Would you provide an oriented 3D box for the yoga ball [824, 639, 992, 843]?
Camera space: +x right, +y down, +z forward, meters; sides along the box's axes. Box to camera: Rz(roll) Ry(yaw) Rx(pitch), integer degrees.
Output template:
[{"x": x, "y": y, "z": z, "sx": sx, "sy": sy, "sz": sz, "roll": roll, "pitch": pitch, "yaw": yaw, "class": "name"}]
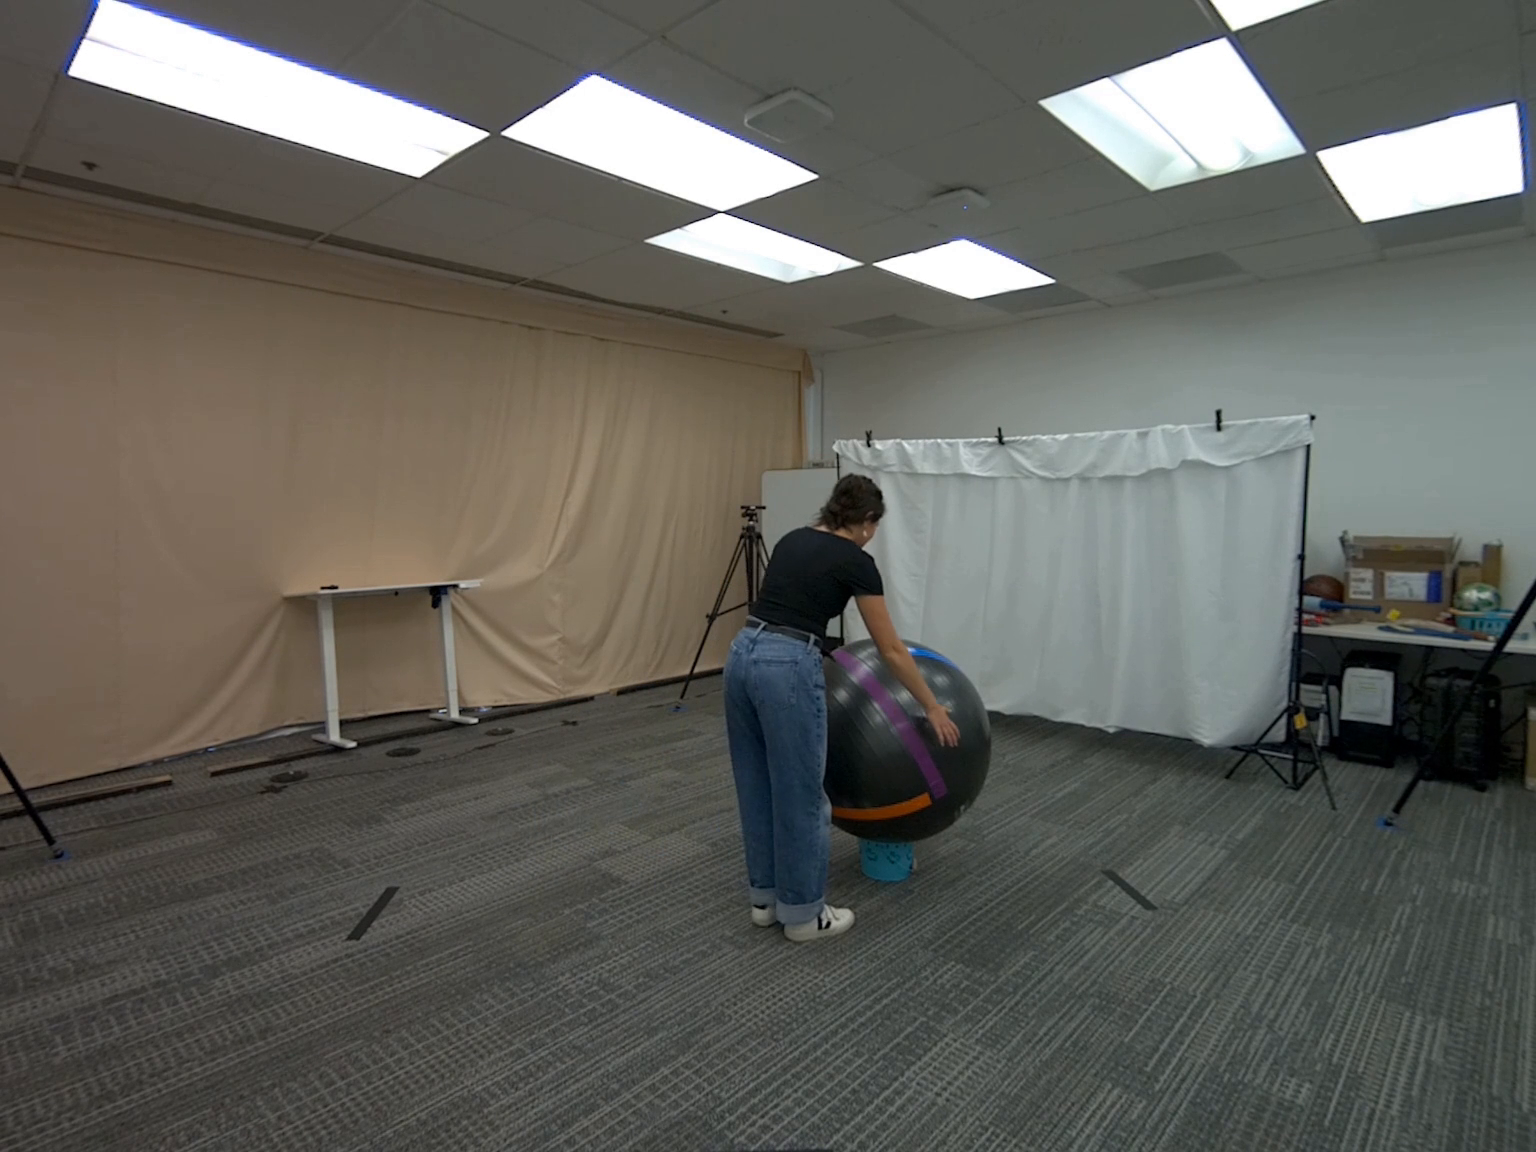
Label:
[{"x": 0.455, "y": 0.621, "z": 3.194, "sx": 0.757, "sy": 0.756, "sz": 0.760, "roll": 0, "pitch": 4, "yaw": -2, "class": "yoga ball"}]
